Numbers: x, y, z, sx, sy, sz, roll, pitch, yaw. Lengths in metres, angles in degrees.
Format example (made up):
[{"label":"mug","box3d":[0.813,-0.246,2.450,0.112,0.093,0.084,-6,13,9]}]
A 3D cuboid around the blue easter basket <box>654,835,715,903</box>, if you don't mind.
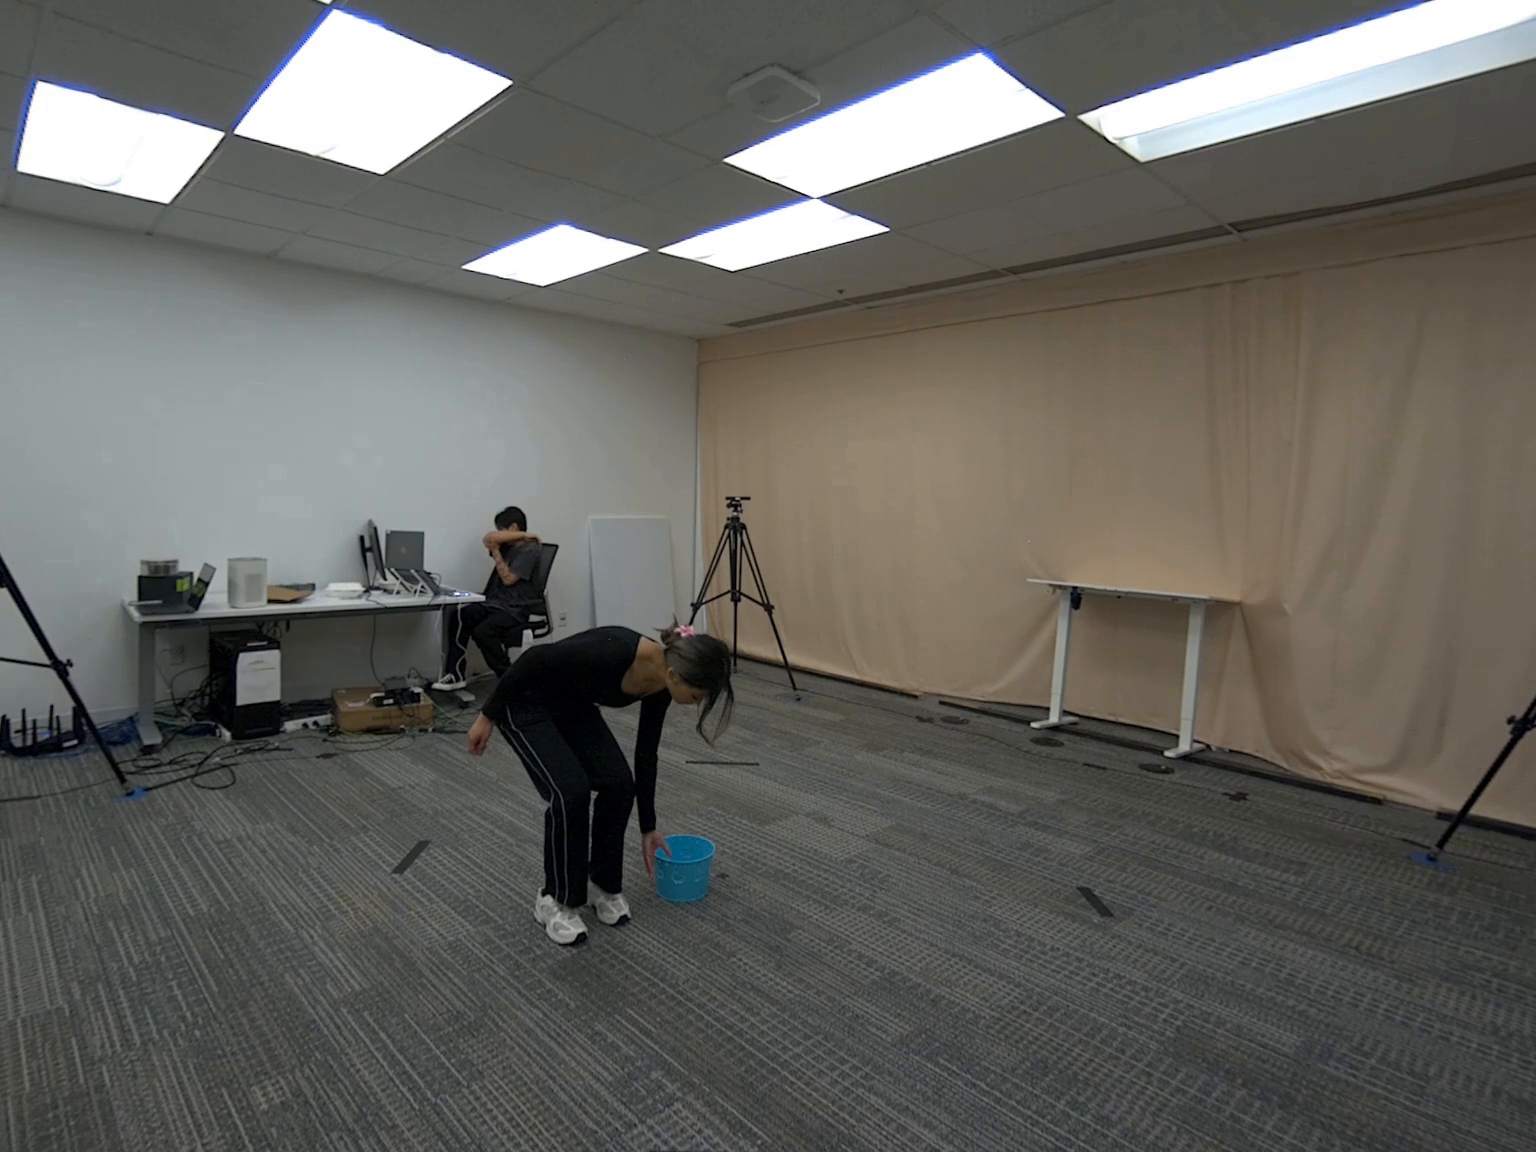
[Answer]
[{"label":"blue easter basket","box3d":[-0.308,1.036,2.984,0.243,0.155,0.244,1,5,-1]}]
